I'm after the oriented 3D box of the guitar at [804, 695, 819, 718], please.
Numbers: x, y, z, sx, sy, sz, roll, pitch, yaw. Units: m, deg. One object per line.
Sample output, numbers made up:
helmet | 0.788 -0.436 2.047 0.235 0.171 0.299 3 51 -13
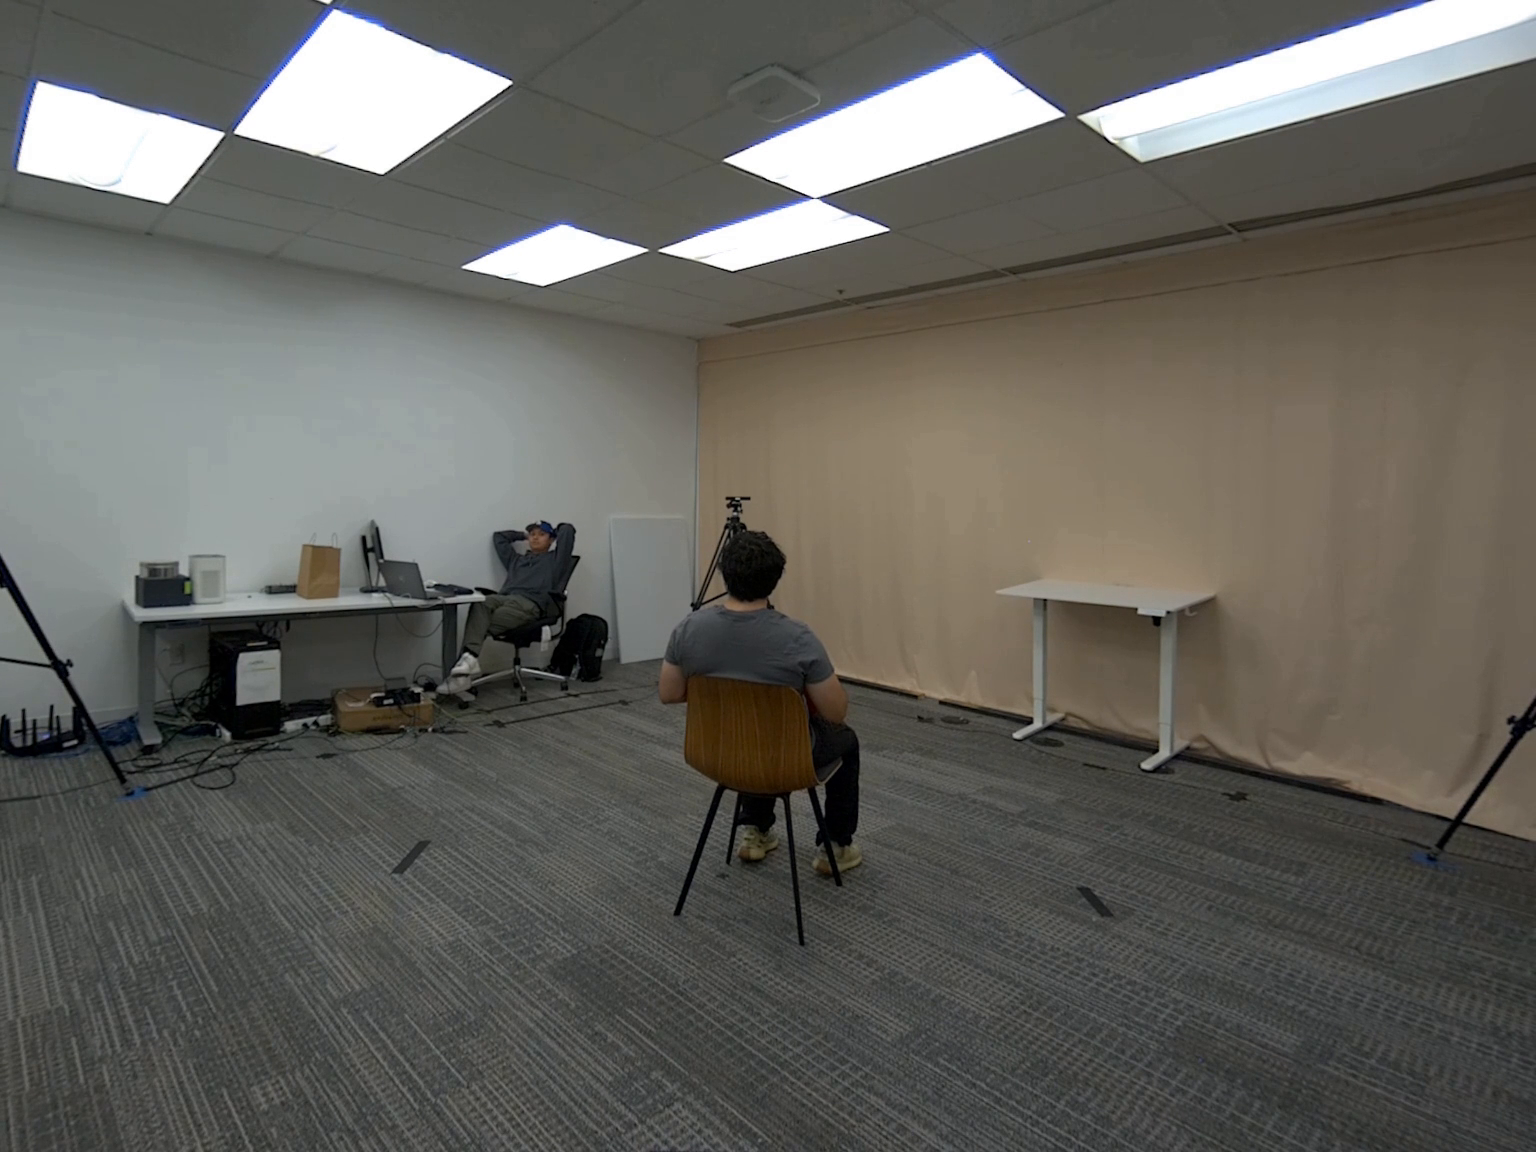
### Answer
guitar | -0.025 0.371 2.998 0.510 0.188 0.071 5 40 34
